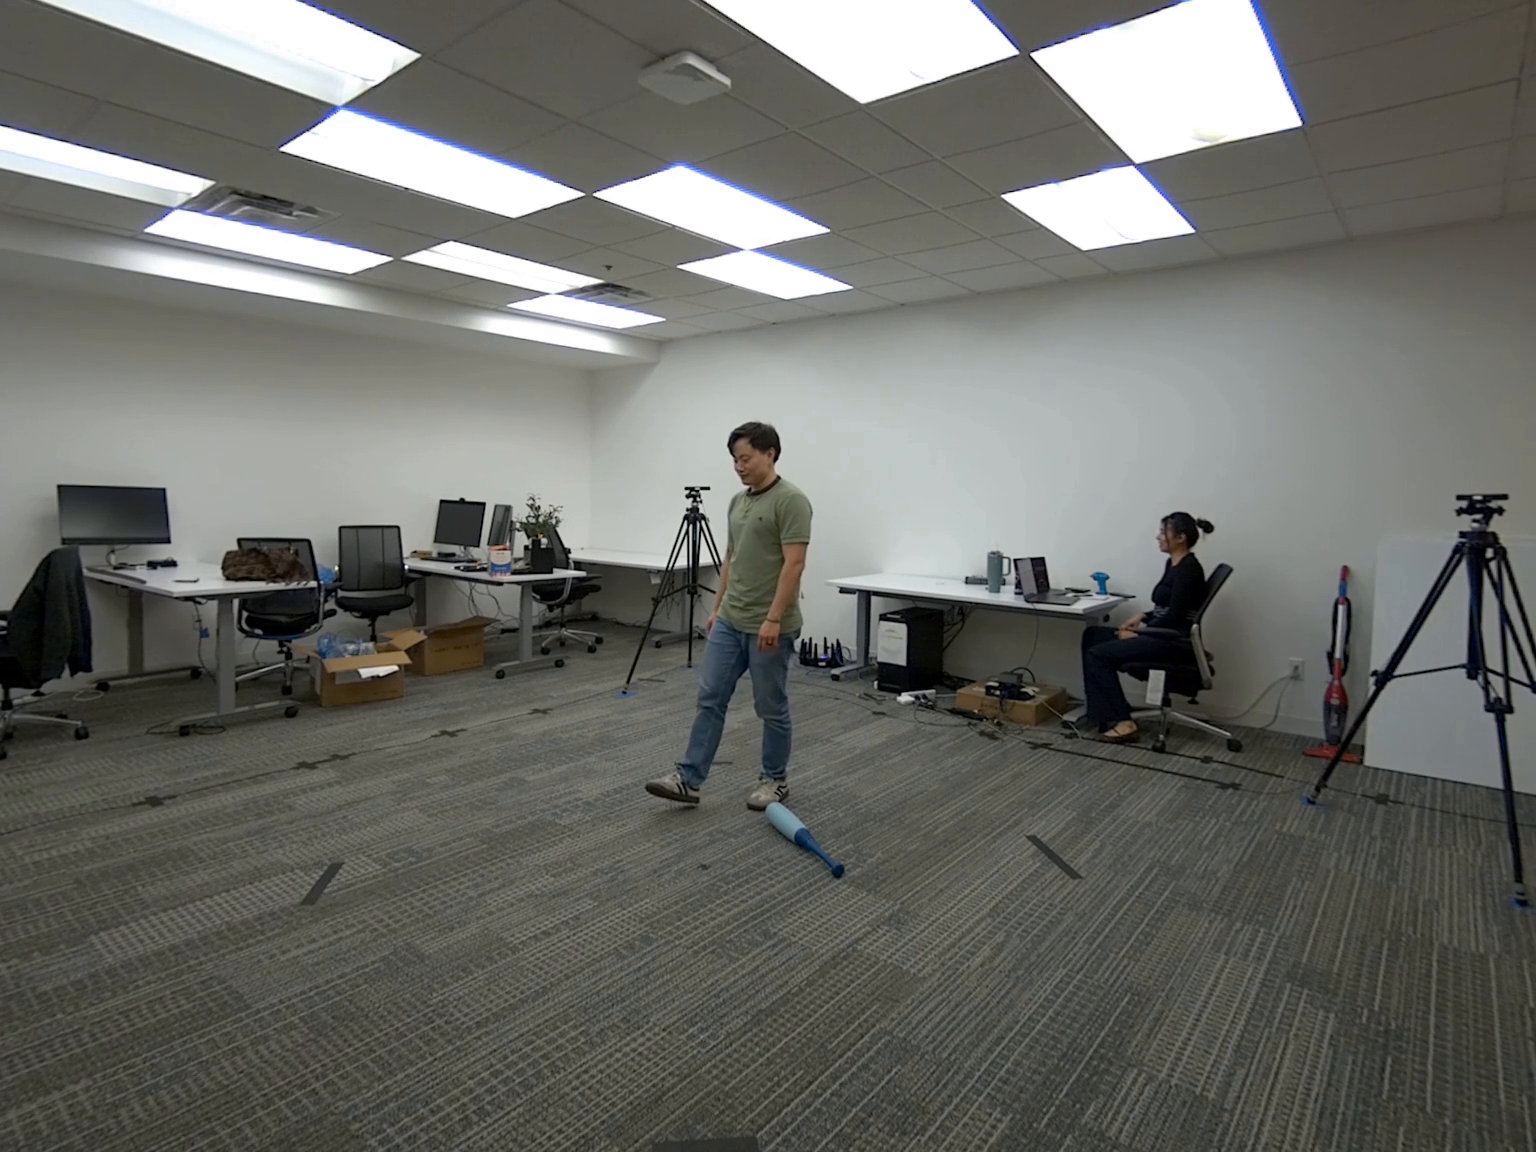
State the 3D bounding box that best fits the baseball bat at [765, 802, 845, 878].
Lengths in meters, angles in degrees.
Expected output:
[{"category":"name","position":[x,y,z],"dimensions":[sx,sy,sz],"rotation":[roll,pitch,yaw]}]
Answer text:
[{"category":"baseball bat","position":[0.134,1.019,3.296],"dimensions":[0.087,0.088,0.559],"rotation":[-1,9,-25]}]
